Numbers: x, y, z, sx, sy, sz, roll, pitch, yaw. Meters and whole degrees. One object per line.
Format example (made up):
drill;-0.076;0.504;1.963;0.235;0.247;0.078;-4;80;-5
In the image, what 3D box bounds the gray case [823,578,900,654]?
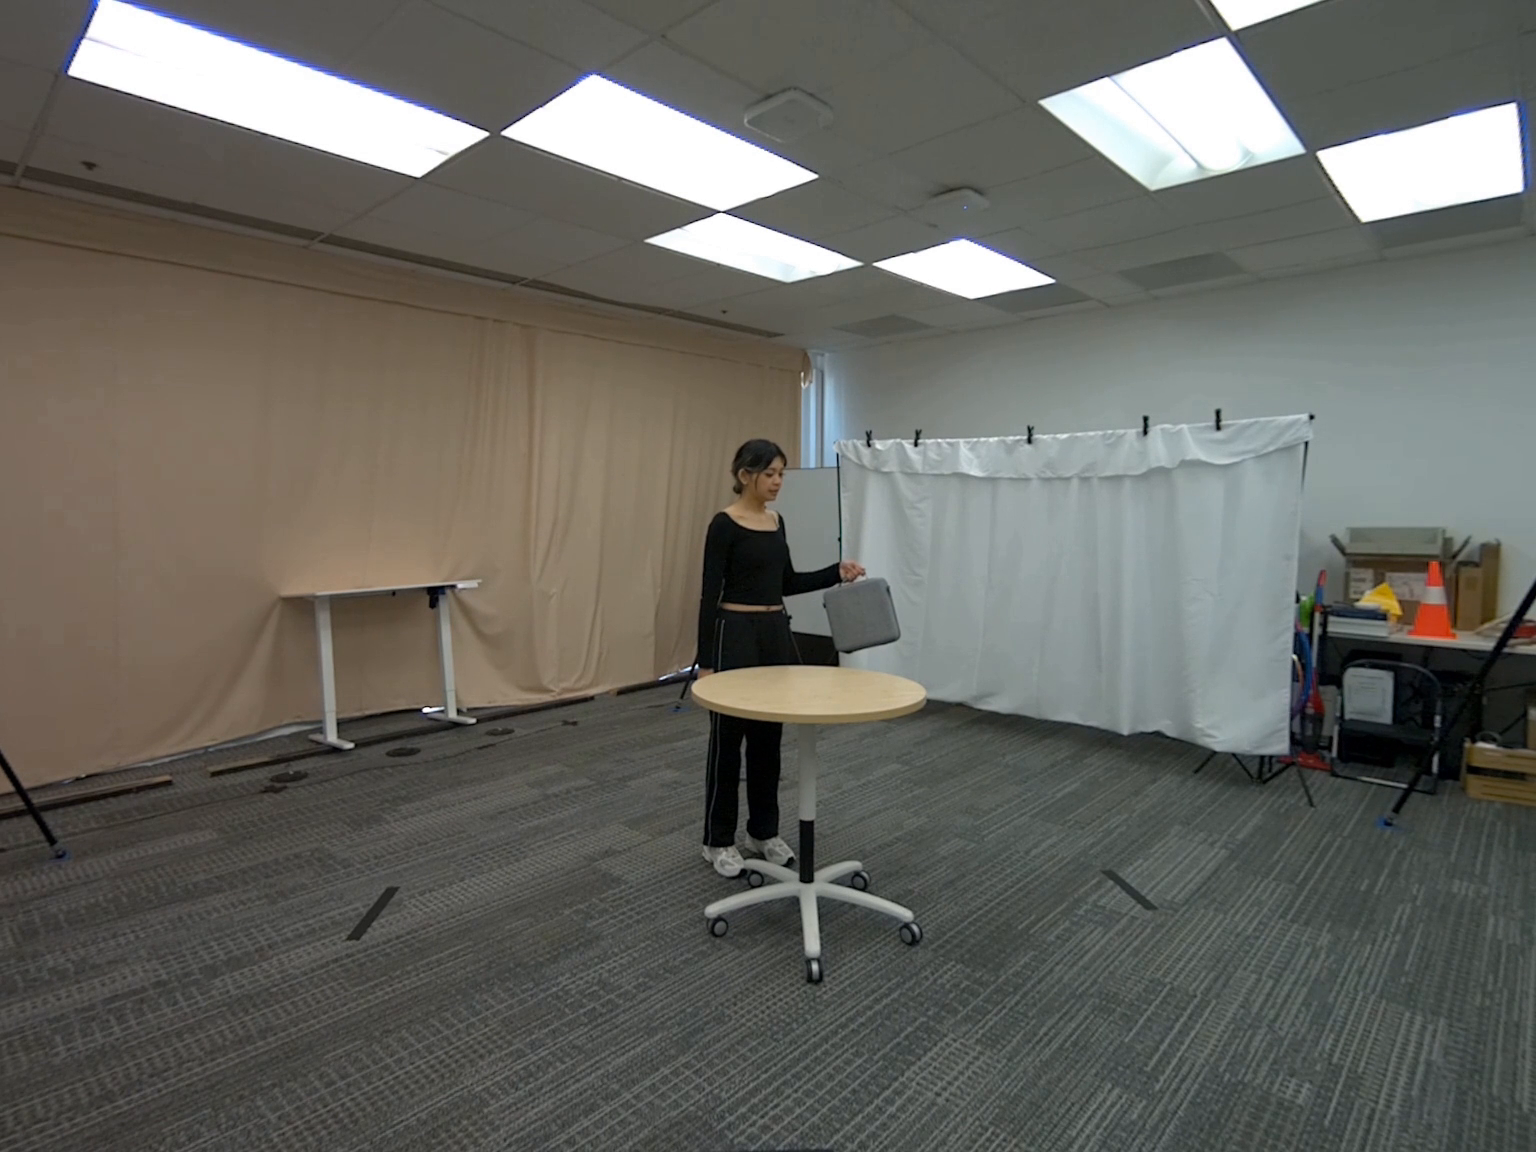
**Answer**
gray case;0.372;0.148;3.281;0.261;0.263;0.102;-17;-10;19
